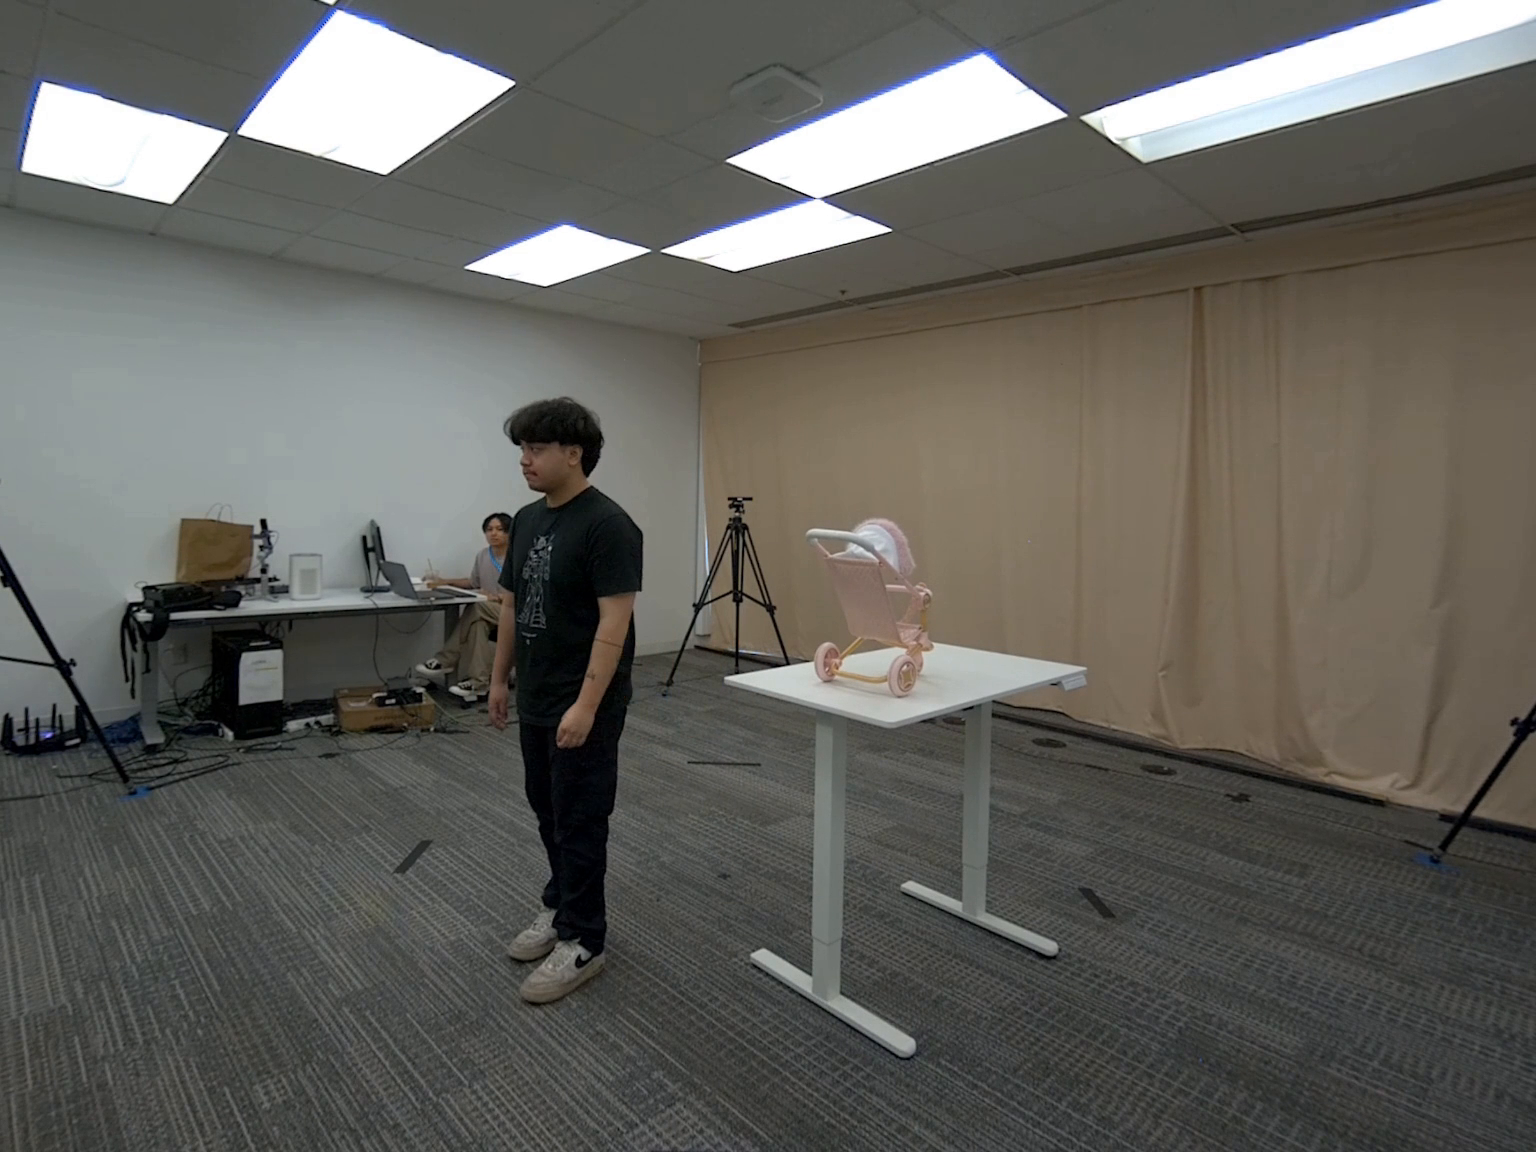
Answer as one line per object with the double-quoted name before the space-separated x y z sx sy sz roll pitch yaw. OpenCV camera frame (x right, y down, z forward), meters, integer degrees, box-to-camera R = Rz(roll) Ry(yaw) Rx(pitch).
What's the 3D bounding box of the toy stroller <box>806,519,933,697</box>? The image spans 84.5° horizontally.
"toy stroller" 0.308 0.082 2.337 0.336 0.529 0.289 -22 18 -40
